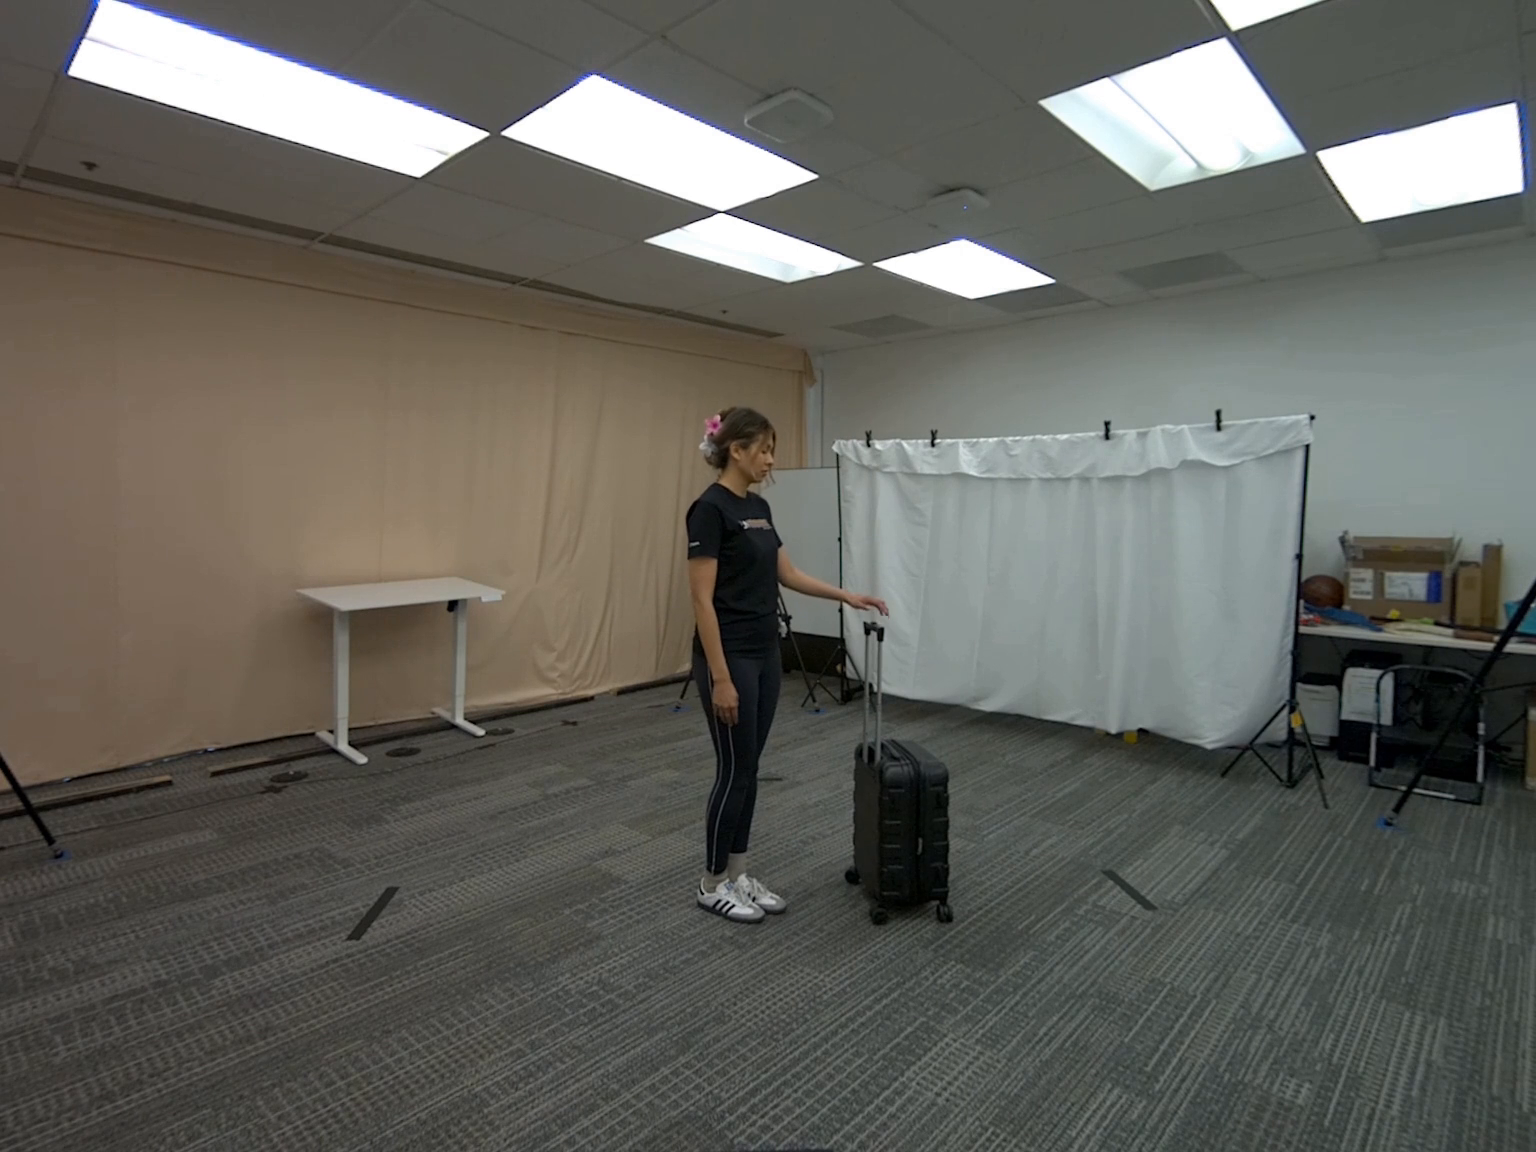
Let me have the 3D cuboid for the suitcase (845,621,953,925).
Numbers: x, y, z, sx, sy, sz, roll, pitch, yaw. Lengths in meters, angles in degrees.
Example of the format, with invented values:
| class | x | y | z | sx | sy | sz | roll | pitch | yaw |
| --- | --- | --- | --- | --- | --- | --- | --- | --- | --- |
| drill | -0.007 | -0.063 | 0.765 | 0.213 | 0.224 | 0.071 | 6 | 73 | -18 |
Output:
| class | x | y | z | sx | sy | sz | roll | pitch | yaw |
| --- | --- | --- | --- | --- | --- | --- | --- | --- | --- |
| suitcase | 0.475 | 0.669 | 2.946 | 0.255 | 0.977 | 0.388 | 3 | 3 | -8 |
